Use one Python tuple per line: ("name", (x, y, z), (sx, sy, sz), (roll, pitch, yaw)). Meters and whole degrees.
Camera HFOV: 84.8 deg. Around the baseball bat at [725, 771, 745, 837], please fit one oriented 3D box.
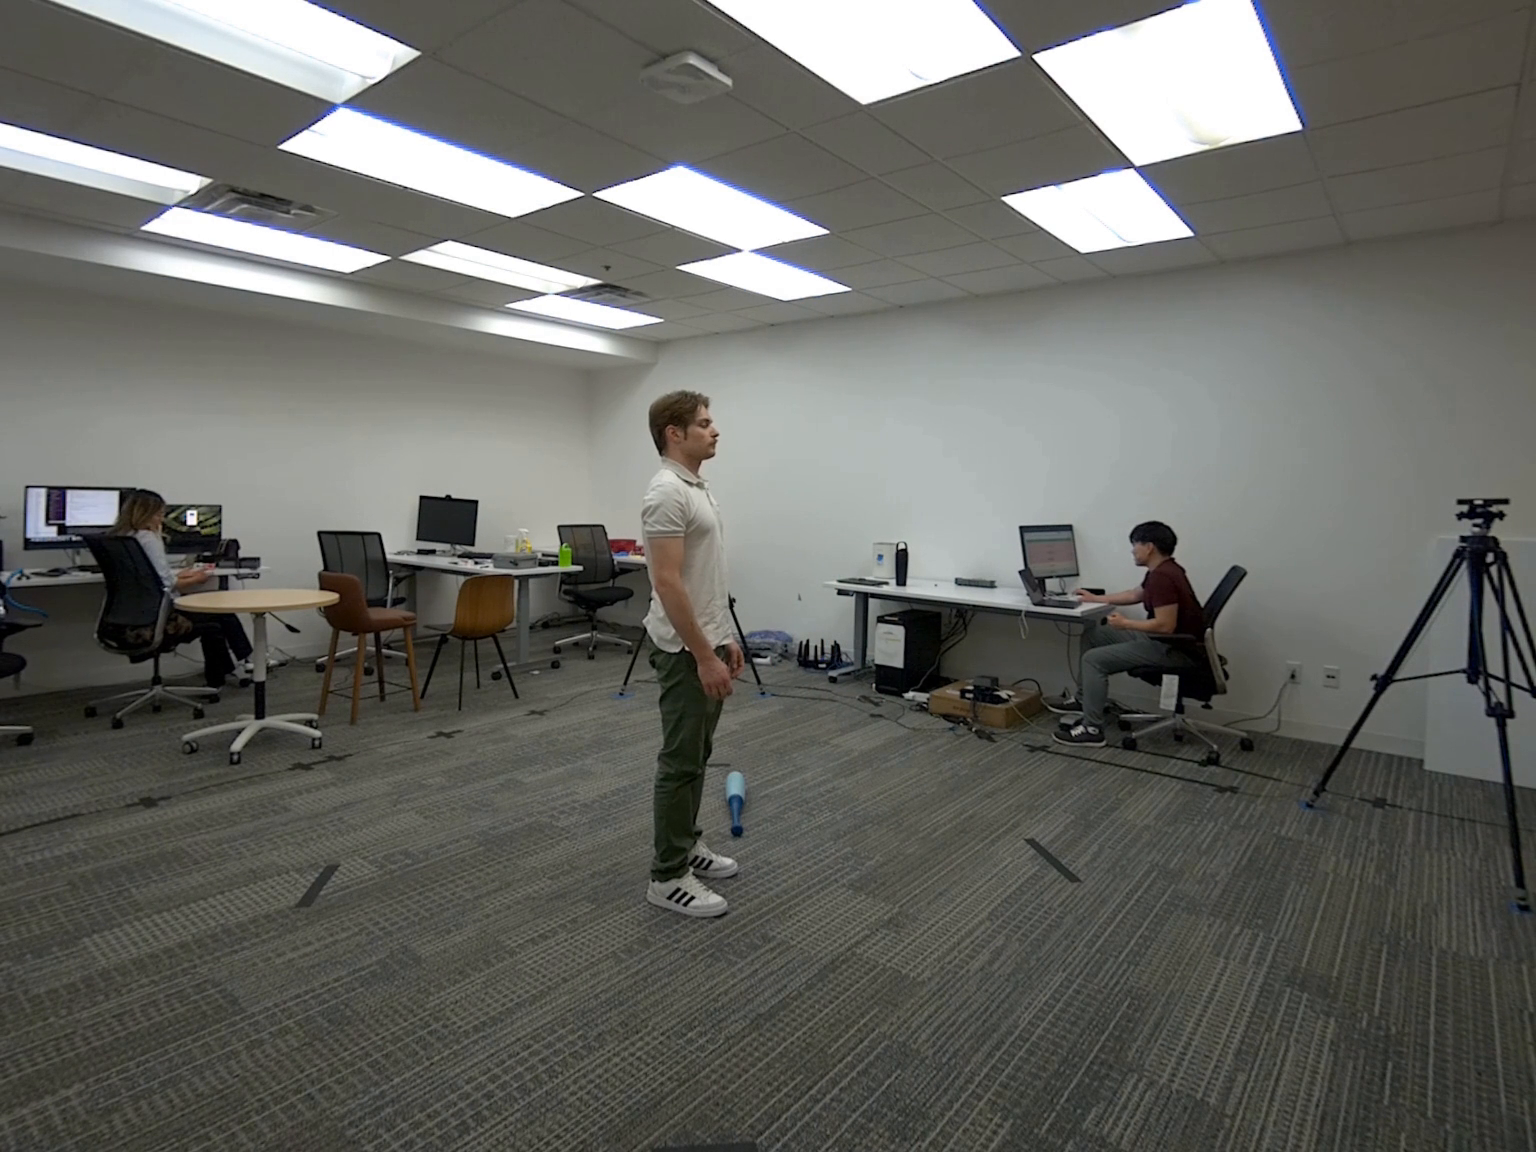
("baseball bat", (-0.149, 0.980, 3.667), (0.089, 0.088, 0.547), (1, 9, -3))
